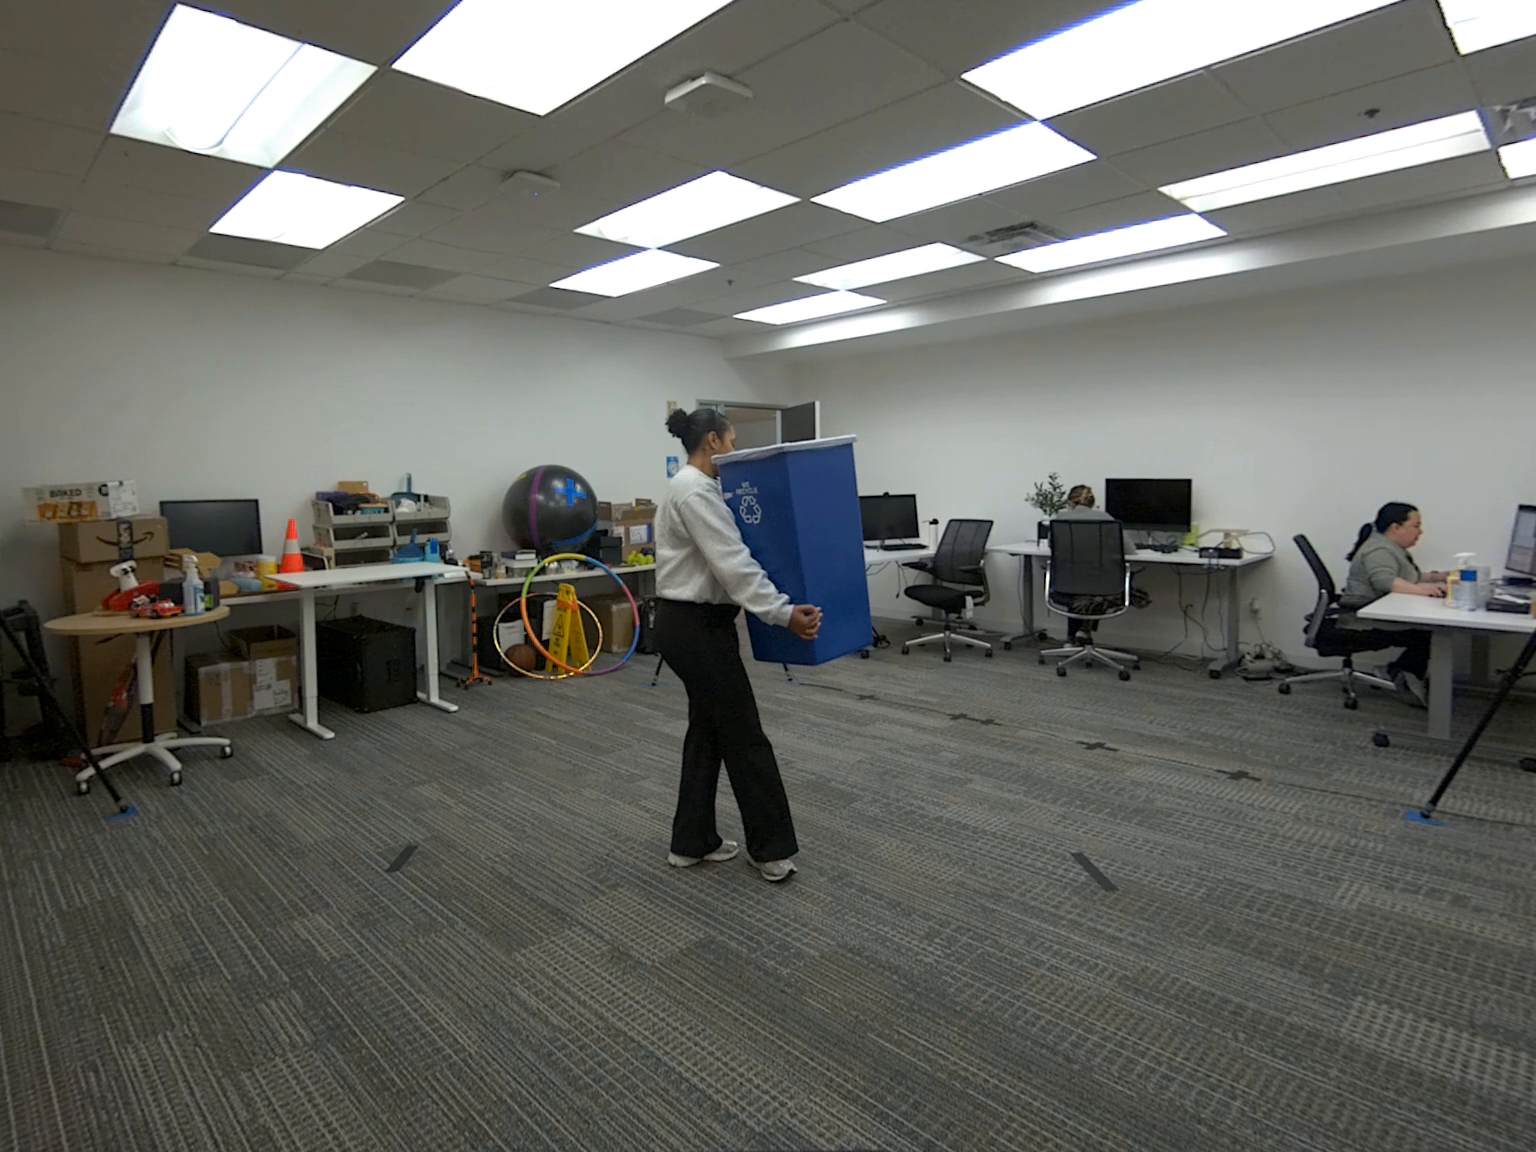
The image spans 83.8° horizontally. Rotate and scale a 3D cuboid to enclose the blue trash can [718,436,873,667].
[{"bbox_3d":[0.107,-0.089,2.888,0.366,0.711,0.388,-13,5,-41],"label":"blue trash can"}]
